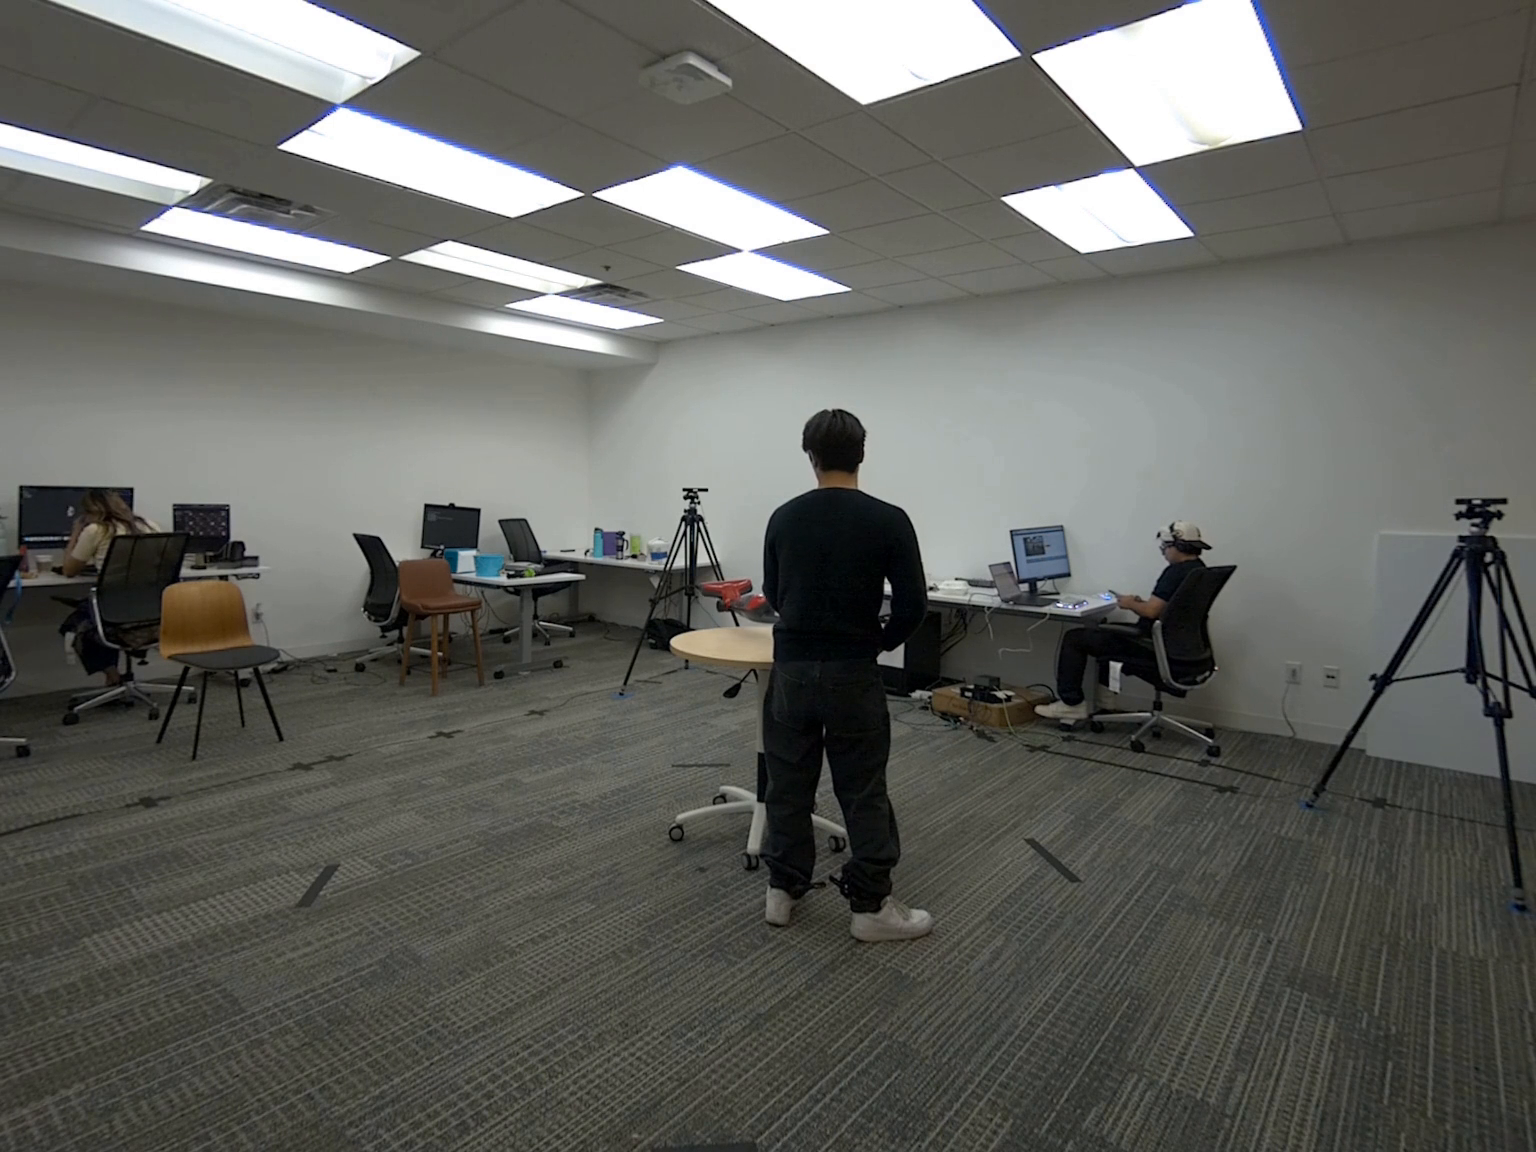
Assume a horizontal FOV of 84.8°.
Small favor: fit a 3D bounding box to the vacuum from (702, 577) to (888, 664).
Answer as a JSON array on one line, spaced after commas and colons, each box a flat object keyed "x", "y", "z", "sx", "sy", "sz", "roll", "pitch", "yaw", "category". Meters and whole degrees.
[{"x": 0.059, "y": 0.164, "z": 3.308, "sx": 0.247, "sy": 0.143, "sz": 1.081, "roll": -7, "pitch": 11, "yaw": -25, "category": "vacuum"}]
